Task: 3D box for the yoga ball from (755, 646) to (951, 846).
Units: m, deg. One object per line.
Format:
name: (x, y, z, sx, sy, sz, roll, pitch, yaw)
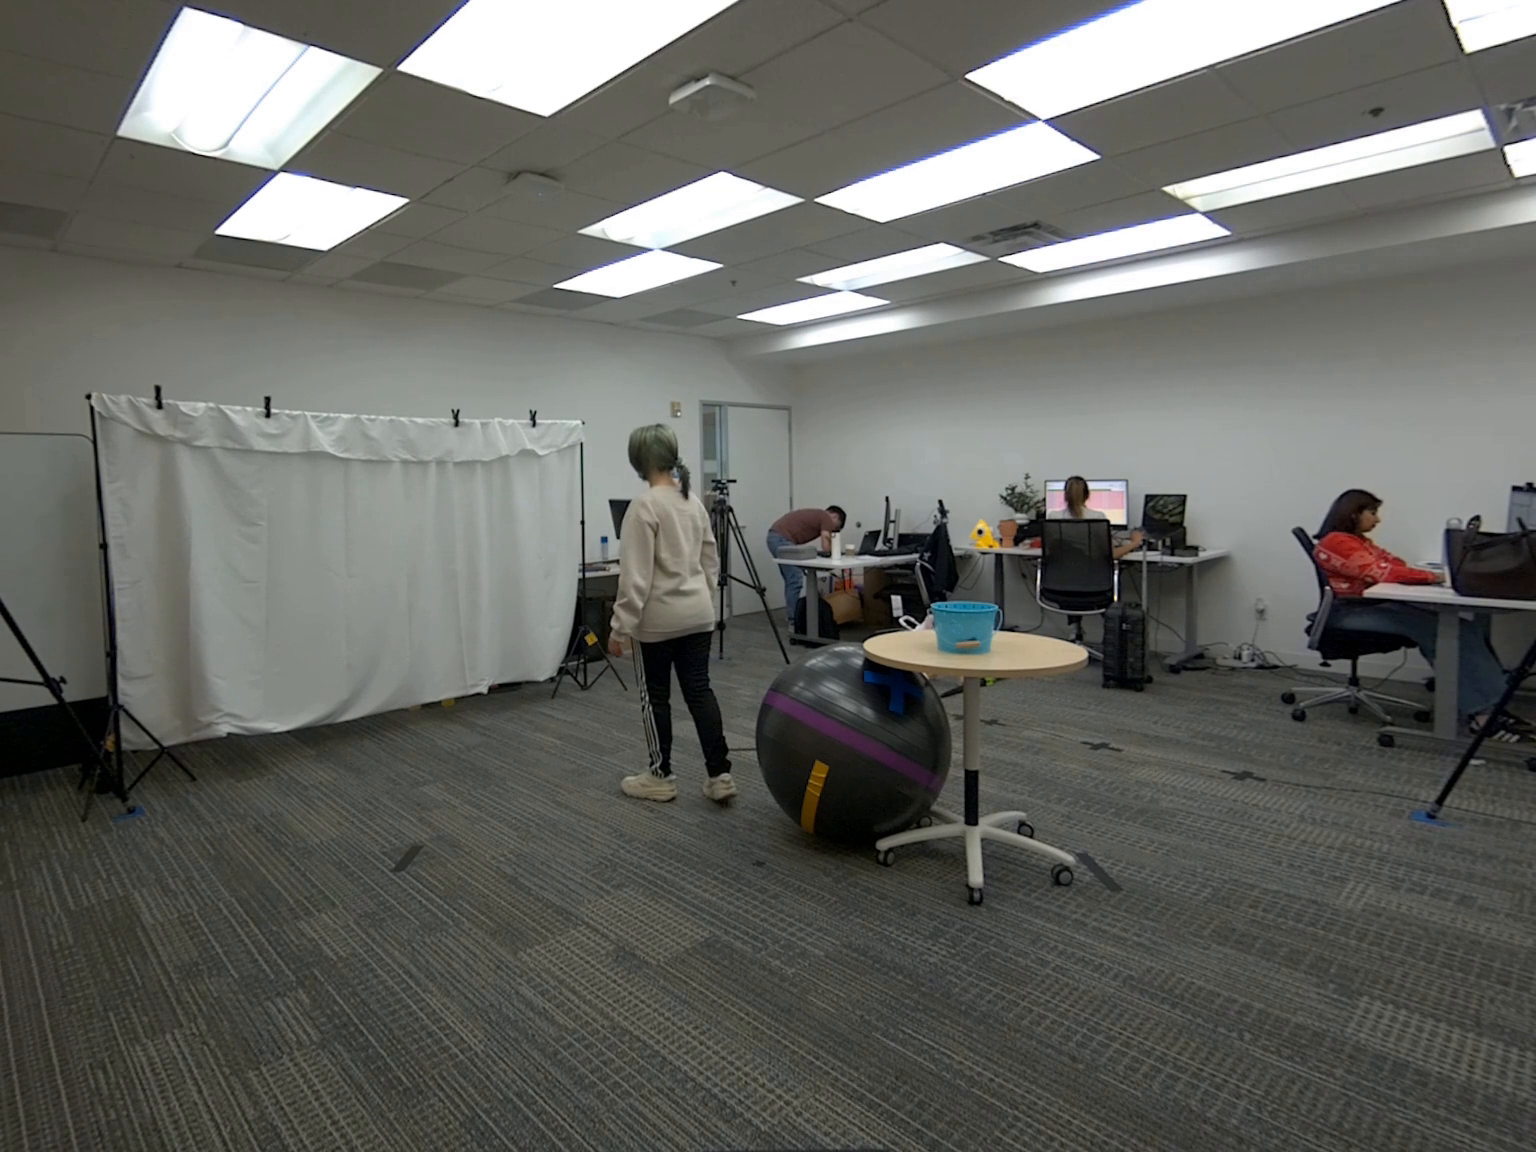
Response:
yoga ball: (0.333, 0.646, 3.342, 0.757, 0.755, 0.762, -1, 5, -2)
